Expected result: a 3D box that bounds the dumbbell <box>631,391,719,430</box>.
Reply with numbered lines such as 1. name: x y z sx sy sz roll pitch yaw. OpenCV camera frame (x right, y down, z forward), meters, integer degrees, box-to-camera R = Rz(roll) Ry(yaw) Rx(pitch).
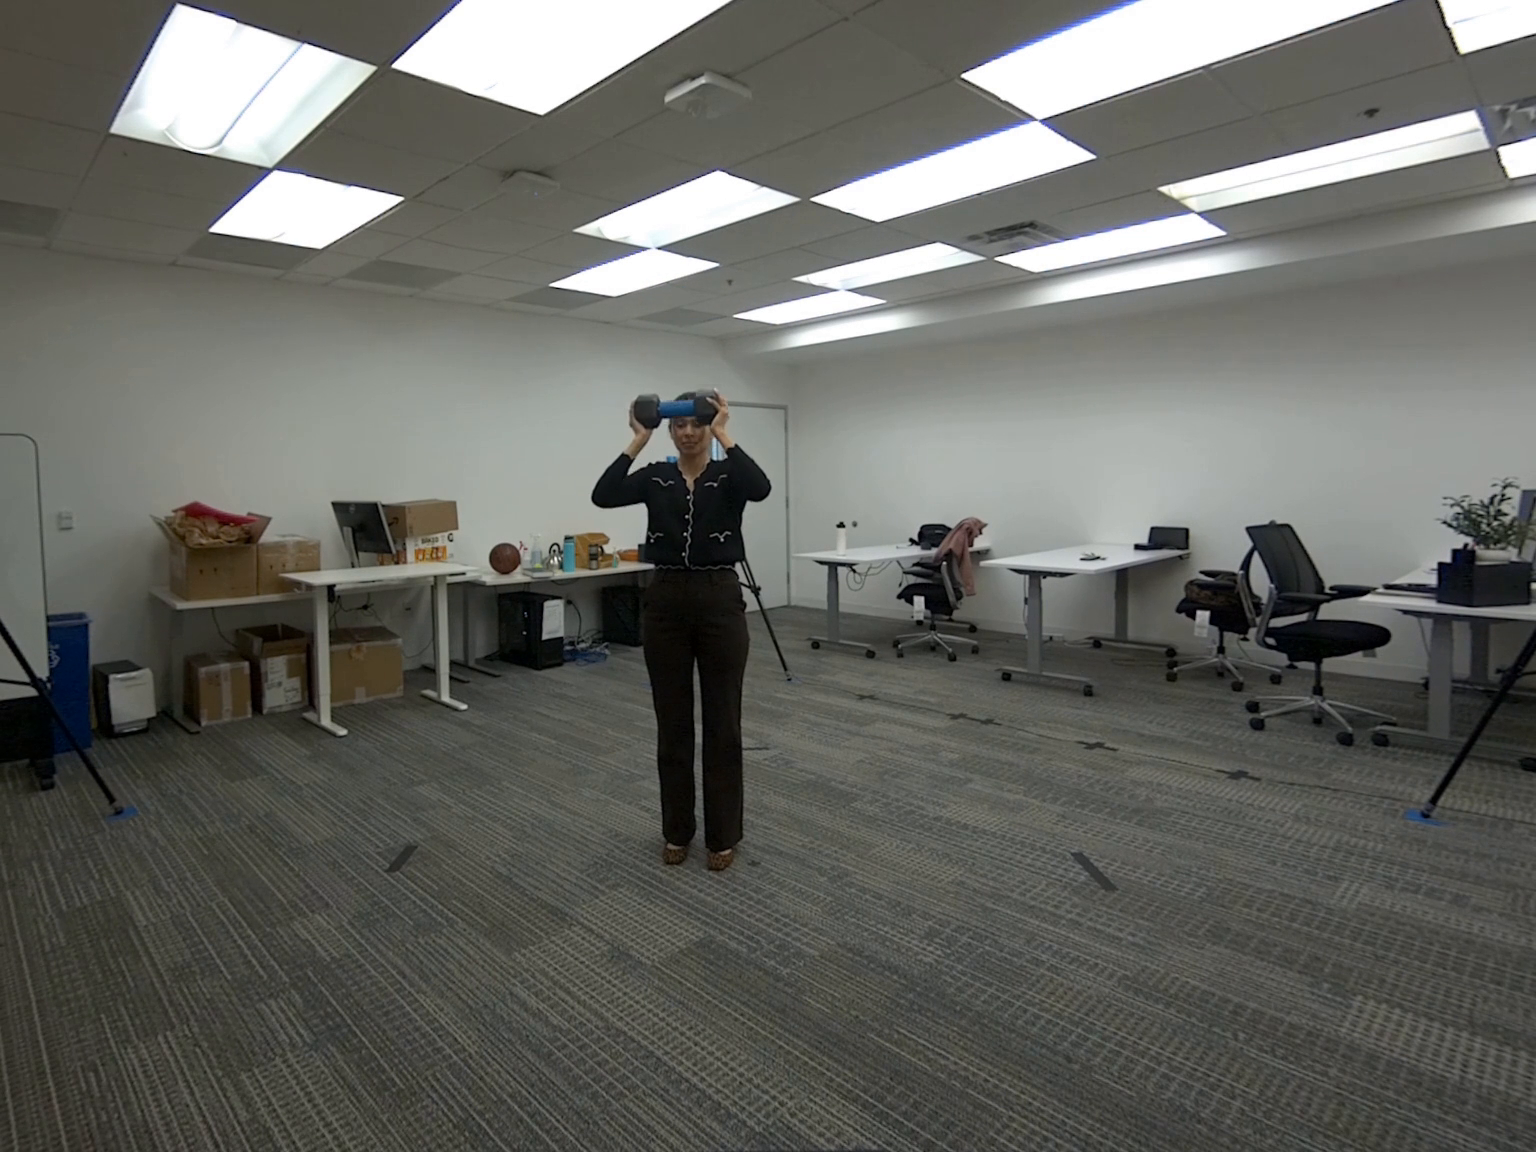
1. dumbbell: -0.315 -0.568 2.960 0.297 0.106 0.124 2 31 13
